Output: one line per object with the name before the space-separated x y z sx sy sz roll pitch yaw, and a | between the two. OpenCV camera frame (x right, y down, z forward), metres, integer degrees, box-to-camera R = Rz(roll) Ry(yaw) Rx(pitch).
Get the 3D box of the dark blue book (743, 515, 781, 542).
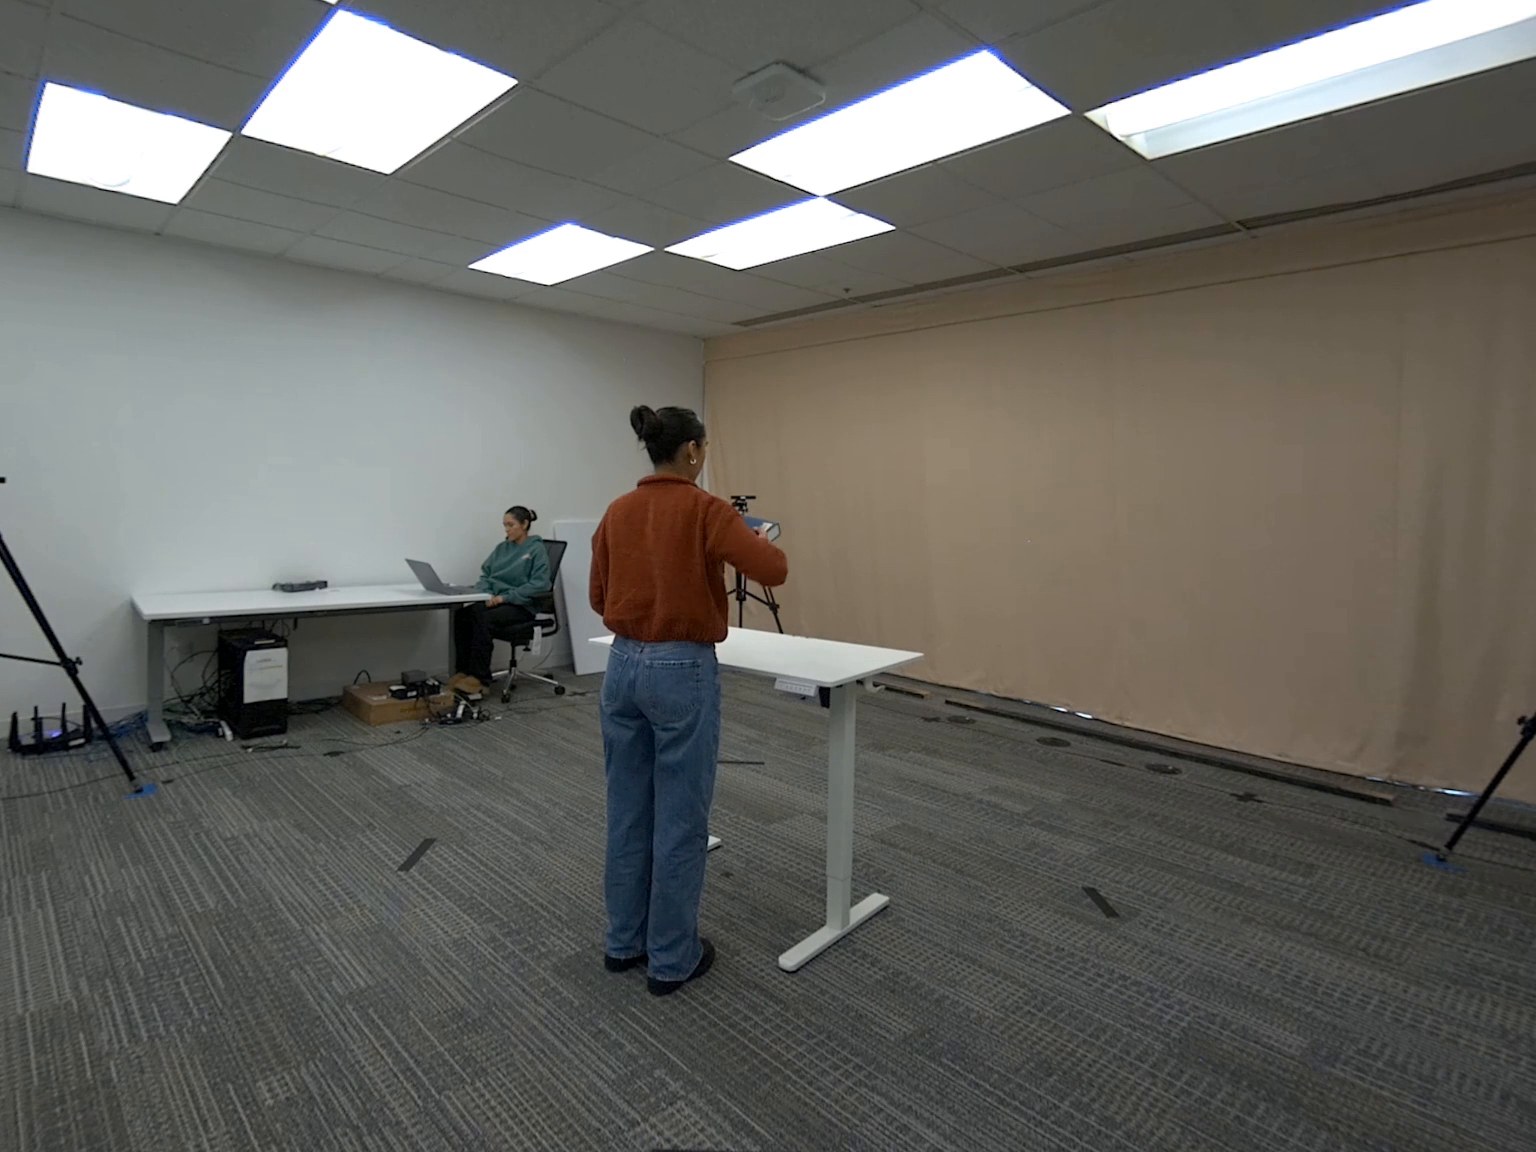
dark blue book | -0.113 -0.121 2.577 0.252 0.044 0.162 14 39 36
